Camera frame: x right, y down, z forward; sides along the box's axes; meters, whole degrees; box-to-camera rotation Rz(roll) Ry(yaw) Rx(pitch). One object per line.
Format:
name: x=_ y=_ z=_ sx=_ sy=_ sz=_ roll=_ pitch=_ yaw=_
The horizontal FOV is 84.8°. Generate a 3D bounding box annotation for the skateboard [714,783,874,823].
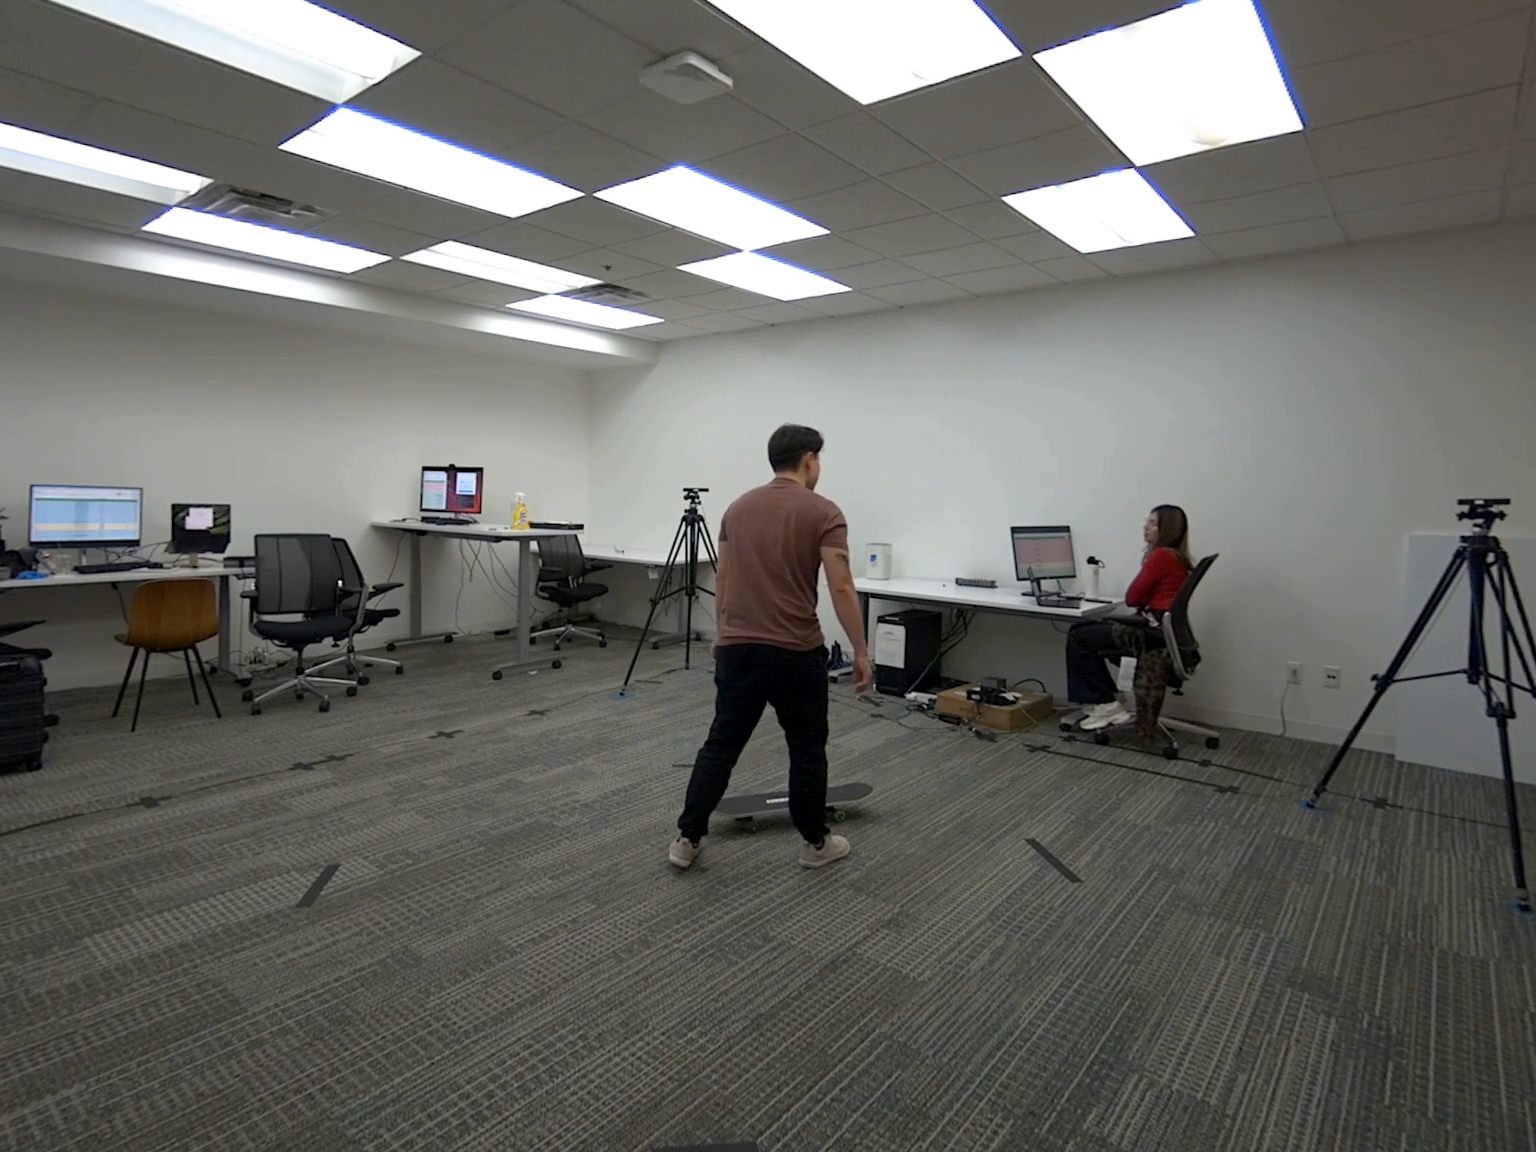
skateboard: x=0.081 y=0.976 z=3.597 sx=0.771 sy=0.110 sz=0.198 roll=-1 pitch=6 yaw=-19
